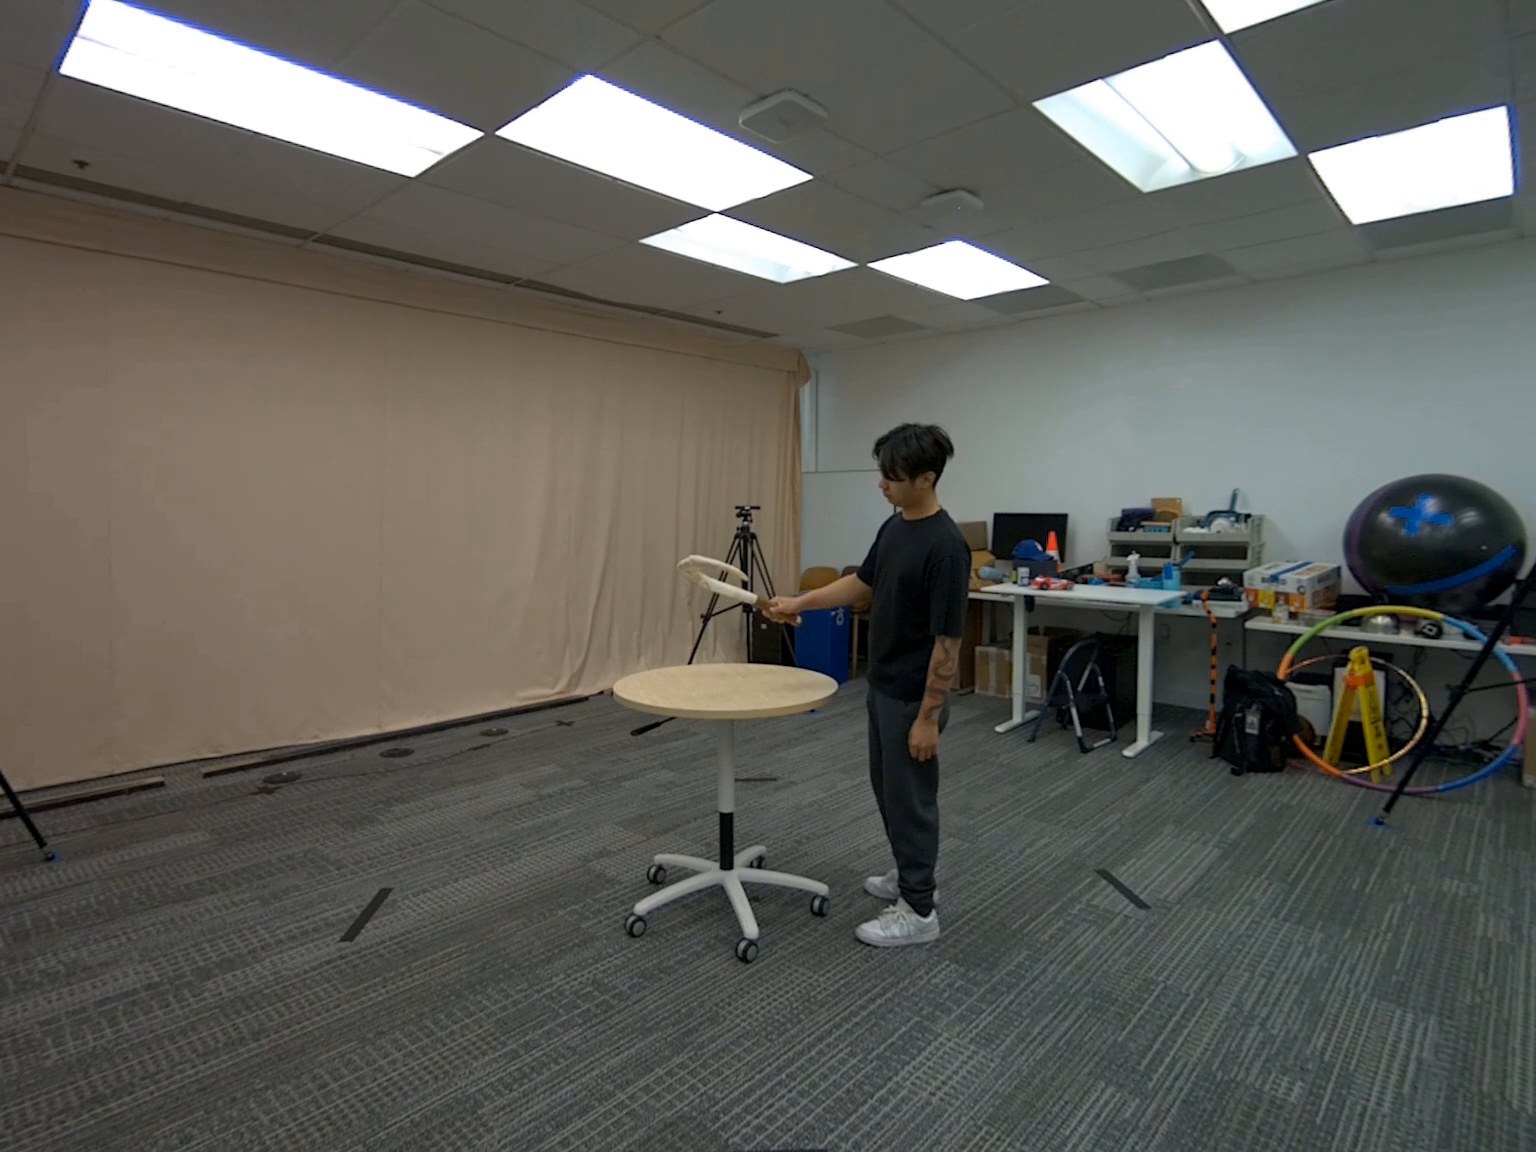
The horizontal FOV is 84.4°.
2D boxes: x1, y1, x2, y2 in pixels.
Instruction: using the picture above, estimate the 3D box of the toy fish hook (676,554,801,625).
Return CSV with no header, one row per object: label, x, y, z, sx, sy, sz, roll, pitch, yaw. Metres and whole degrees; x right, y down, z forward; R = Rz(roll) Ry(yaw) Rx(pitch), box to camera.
toy fish hook,-0.055,0.056,2.792,0.494,0.048,0.229,27,-21,-21
